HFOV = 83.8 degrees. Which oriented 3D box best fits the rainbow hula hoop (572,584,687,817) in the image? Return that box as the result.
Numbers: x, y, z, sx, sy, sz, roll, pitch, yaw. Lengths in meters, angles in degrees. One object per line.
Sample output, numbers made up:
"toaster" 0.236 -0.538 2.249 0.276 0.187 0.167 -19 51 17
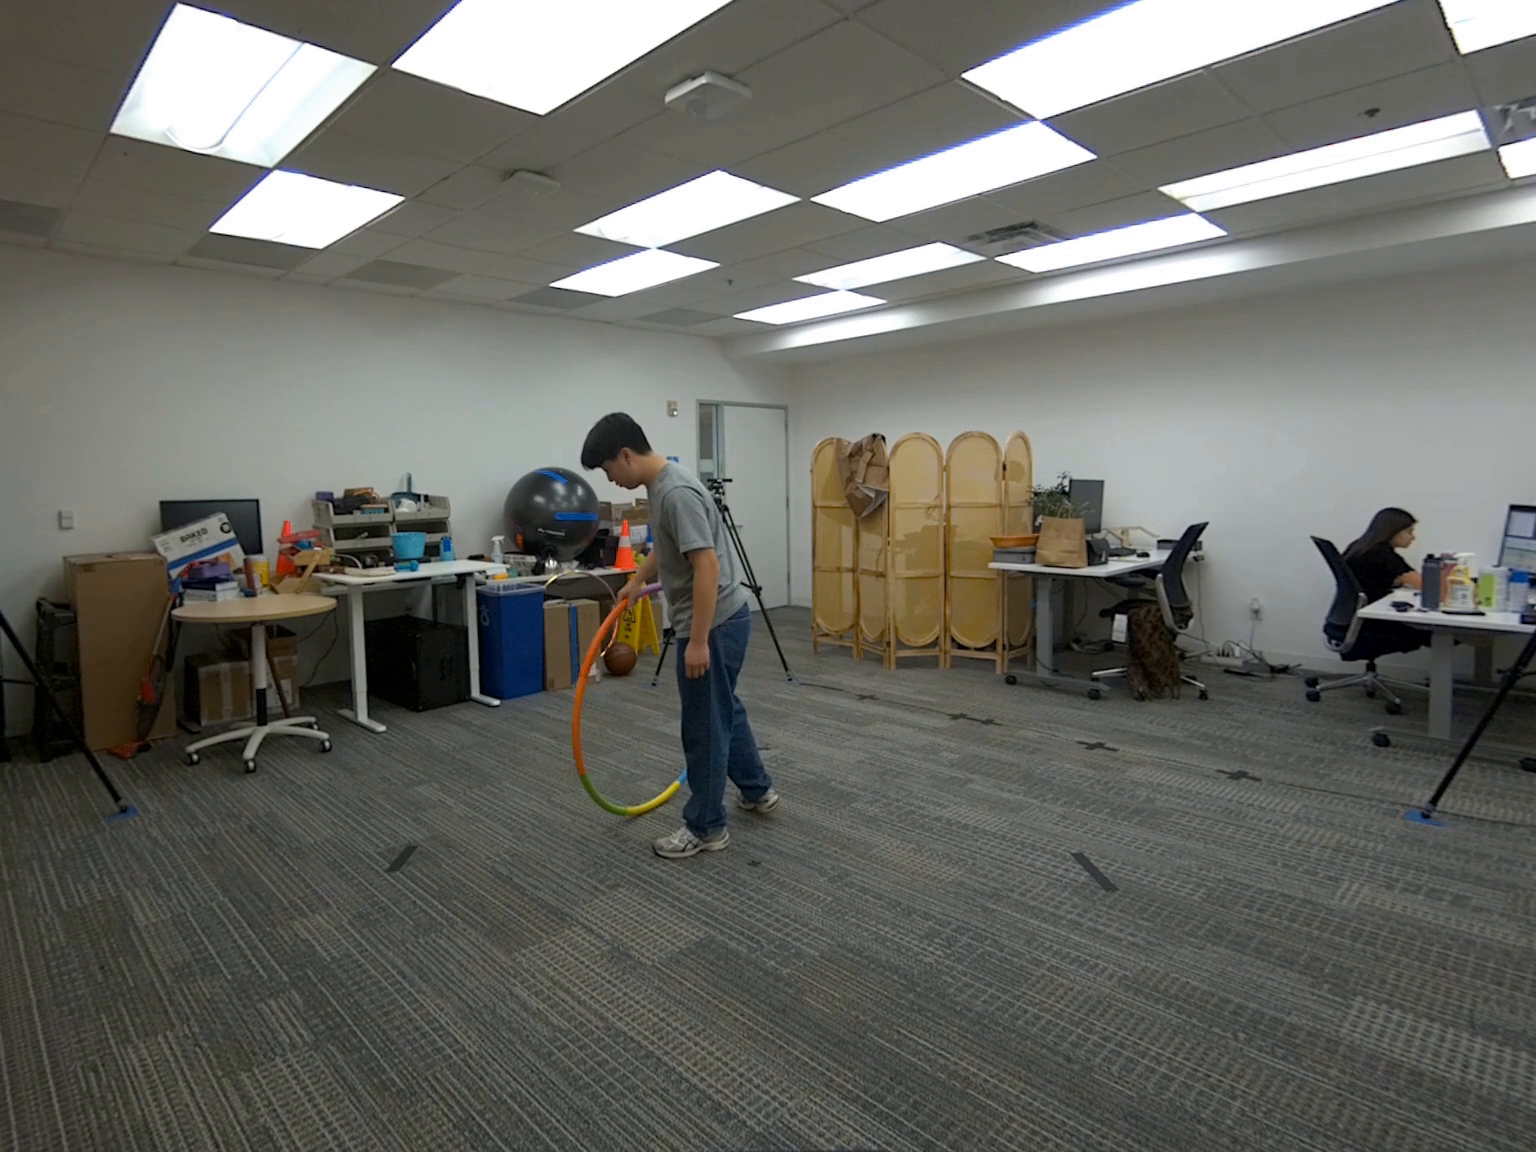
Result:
"rainbow hula hoop" -0.475 0.504 3.585 0.036 0.973 0.956 6 8 31
